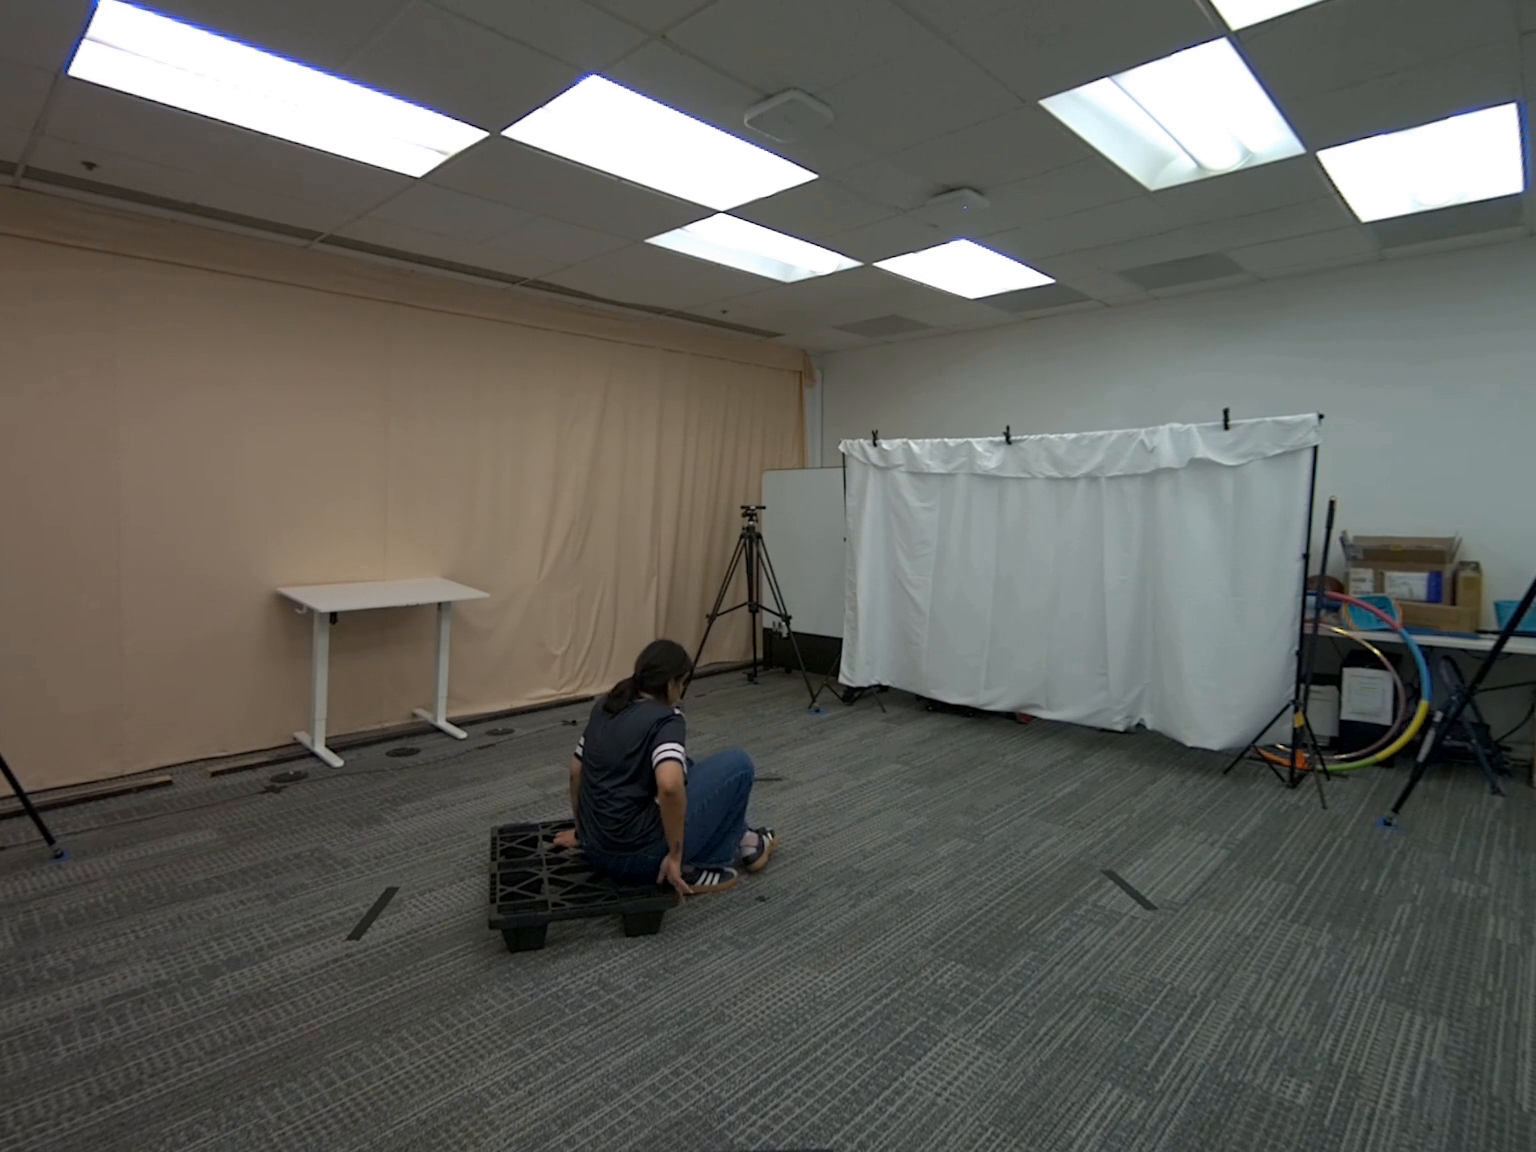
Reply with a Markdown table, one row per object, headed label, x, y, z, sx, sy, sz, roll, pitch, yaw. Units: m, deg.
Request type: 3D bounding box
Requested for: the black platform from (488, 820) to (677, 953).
| label | x | y | z | sx | sy | sz | roll | pitch | yaw |
| --- | --- | --- | --- | --- | --- | --- | --- | --- | --- |
| black platform | -0.696 | 1.081 | 3.042 | 0.596 | 0.143 | 0.820 | -2 | 5 | -15 |
